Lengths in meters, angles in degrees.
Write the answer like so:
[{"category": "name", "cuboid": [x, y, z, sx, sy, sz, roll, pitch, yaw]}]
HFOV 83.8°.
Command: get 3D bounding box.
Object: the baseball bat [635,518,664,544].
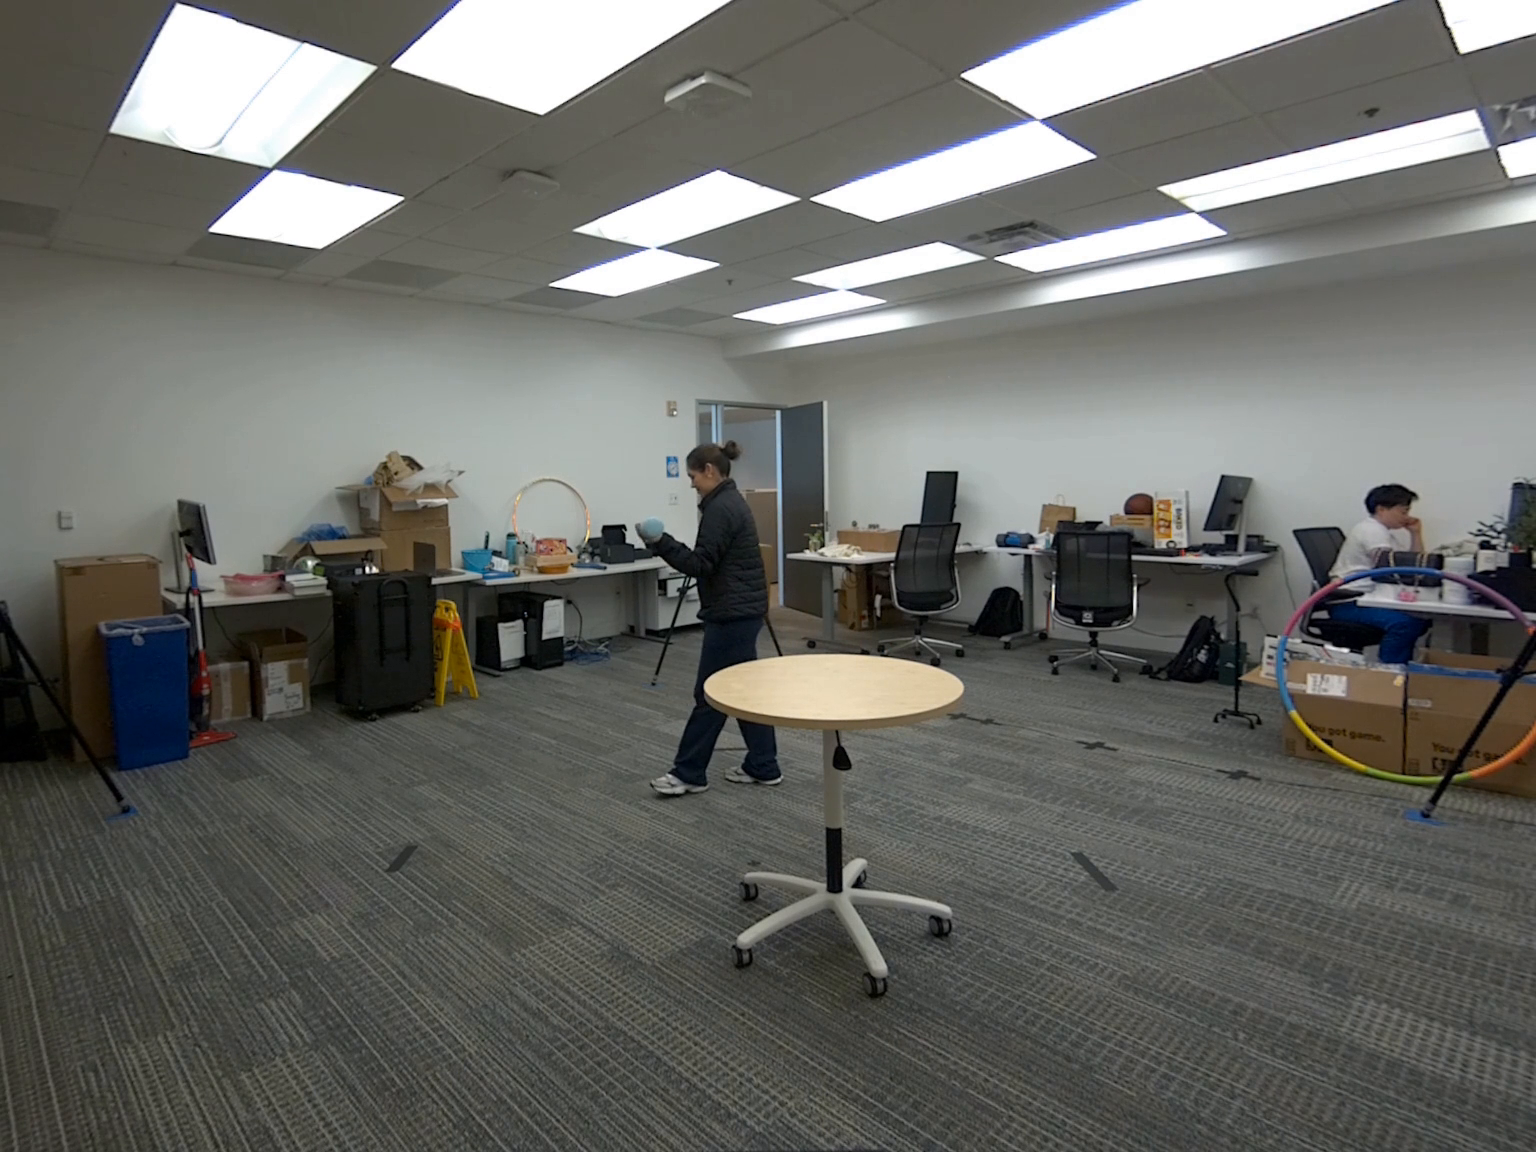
[{"category": "baseball bat", "cuboid": [-0.518, -0.208, 3.699, 0.088, 0.089, 0.548, -2, 3, -10]}]
